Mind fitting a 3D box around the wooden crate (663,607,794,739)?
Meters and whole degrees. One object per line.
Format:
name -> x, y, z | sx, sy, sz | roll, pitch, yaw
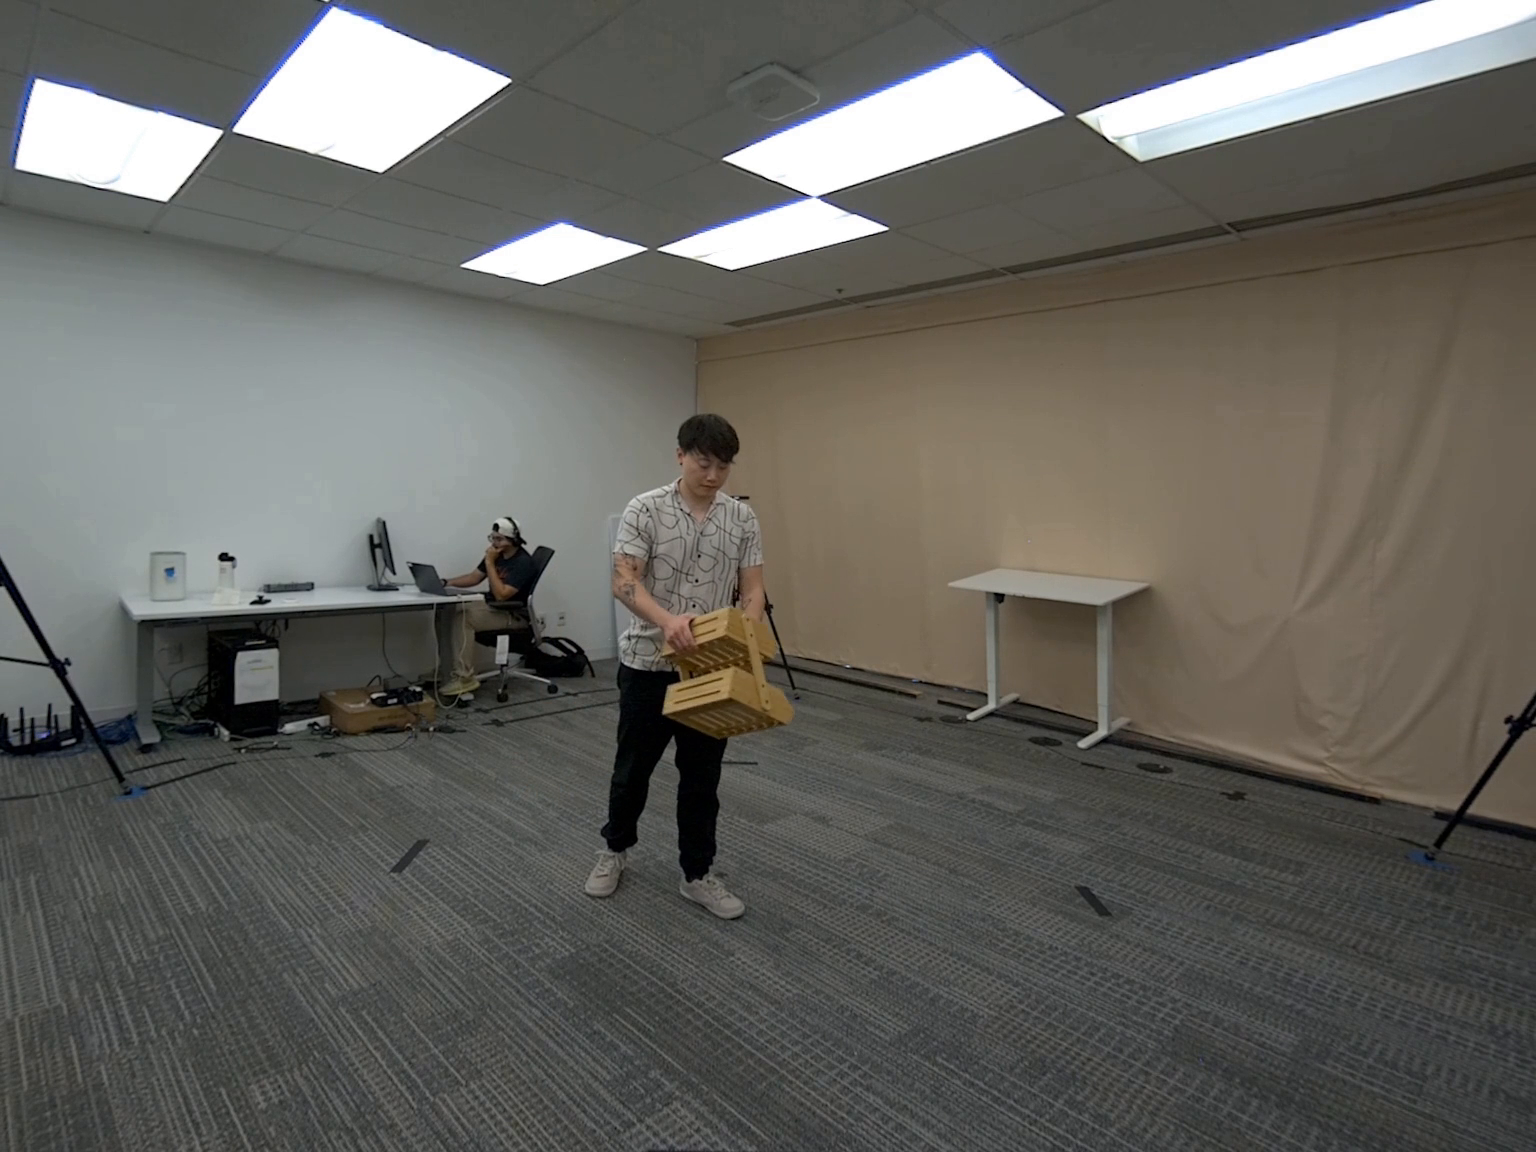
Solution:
wooden crate -> -0.134, 0.301, 2.510 | 0.293, 0.277, 0.329 | 30, -35, -34
